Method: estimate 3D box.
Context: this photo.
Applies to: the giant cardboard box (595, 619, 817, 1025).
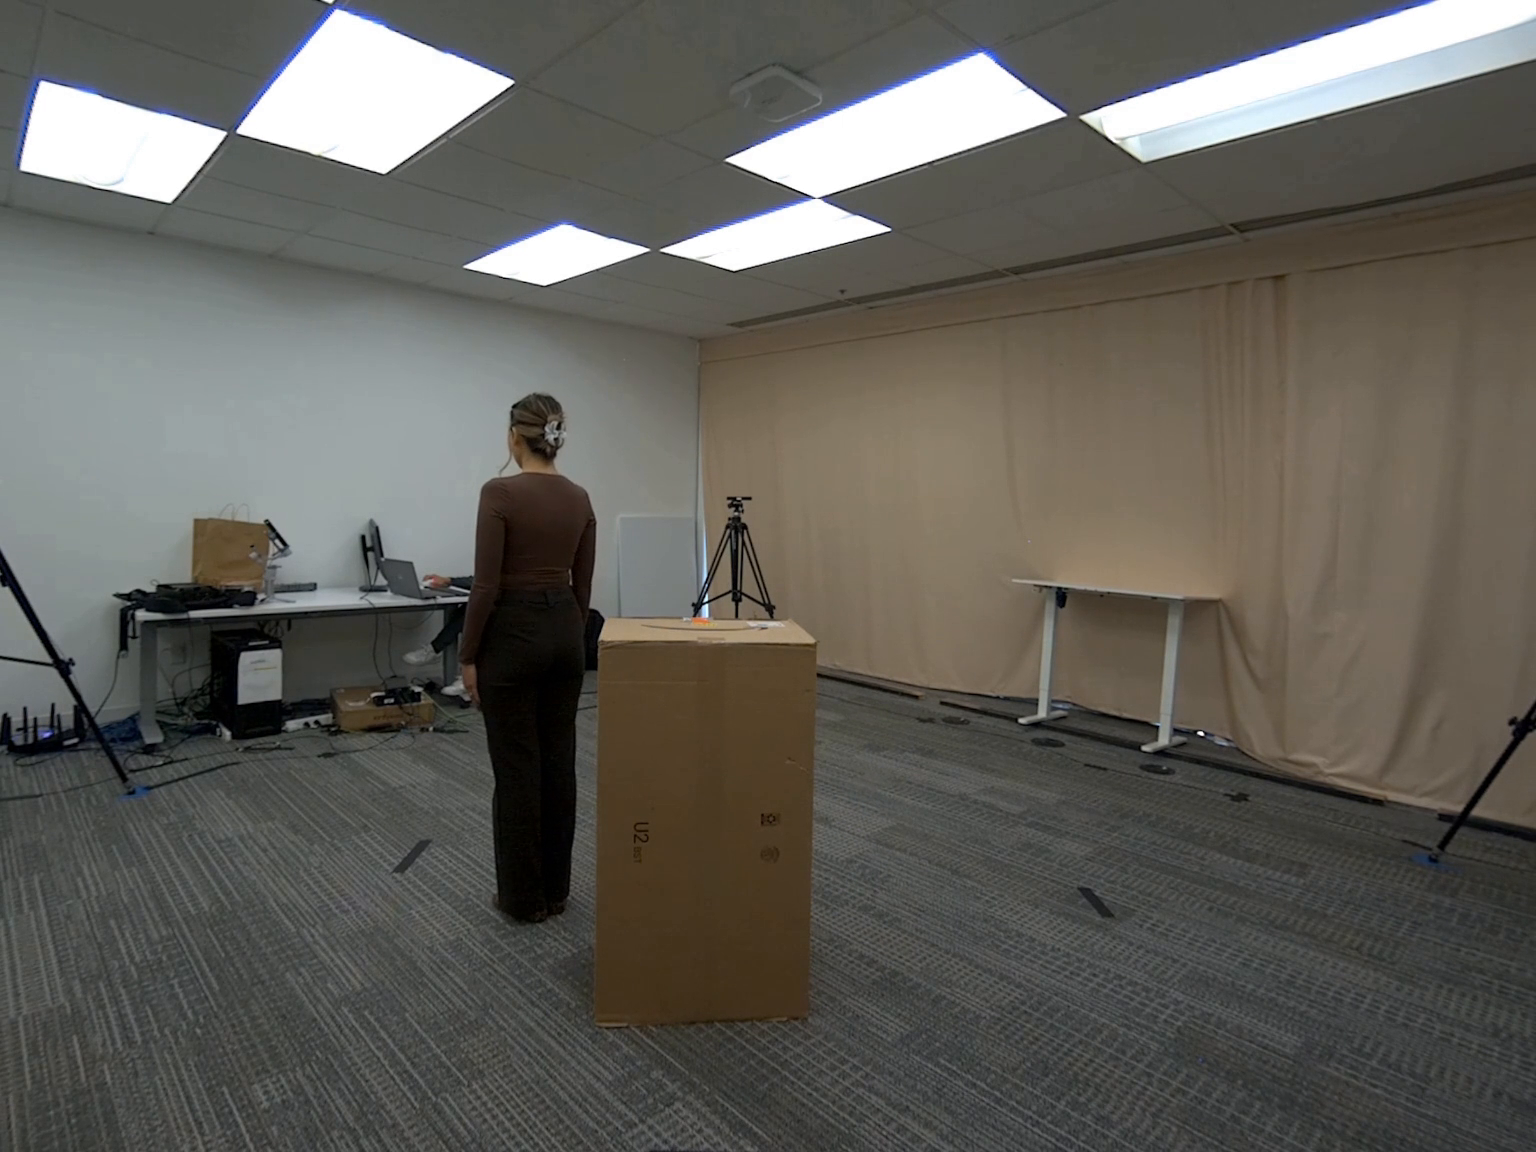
[{"bbox_3d":[-0.199,0.661,2.404,0.580,1.024,0.451,1,4,-8],"label":"giant cardboard box"}]
